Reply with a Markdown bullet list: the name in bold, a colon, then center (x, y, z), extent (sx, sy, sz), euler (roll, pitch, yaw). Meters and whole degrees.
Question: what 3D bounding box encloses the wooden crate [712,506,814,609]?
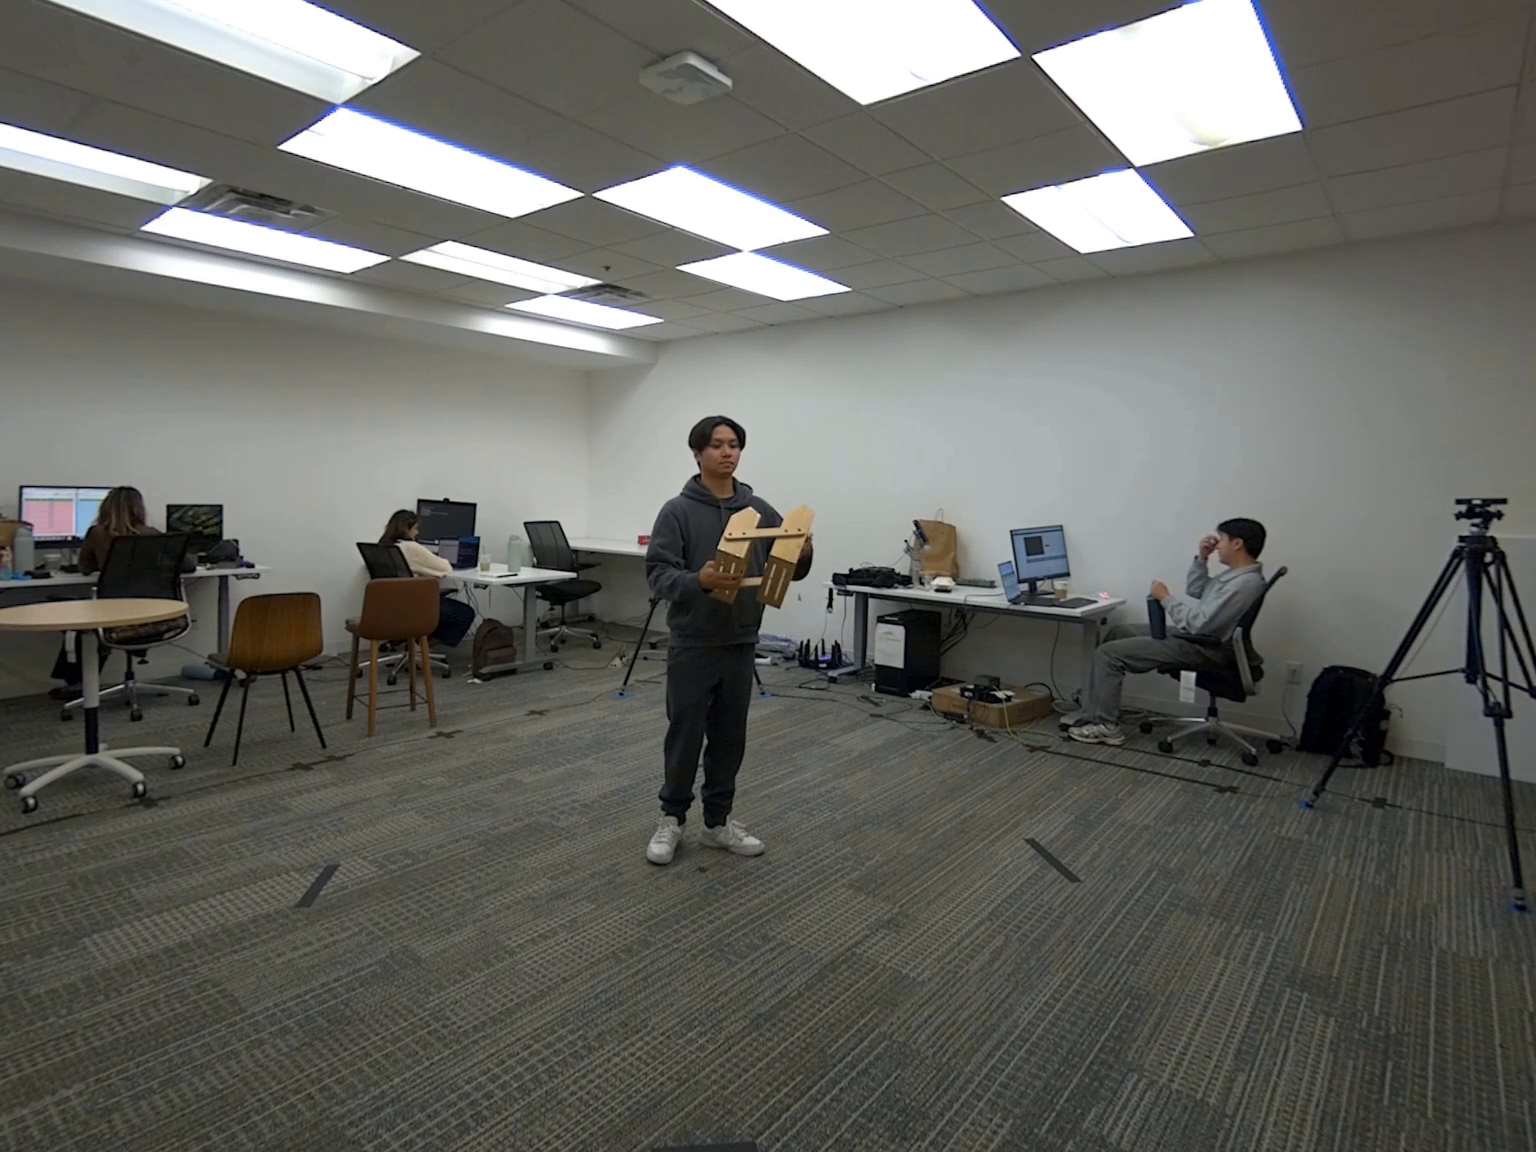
- **wooden crate**: center (-0.040, -0.093, 2.987), extent (0.276, 0.305, 0.318), euler (21, -35, 5)
